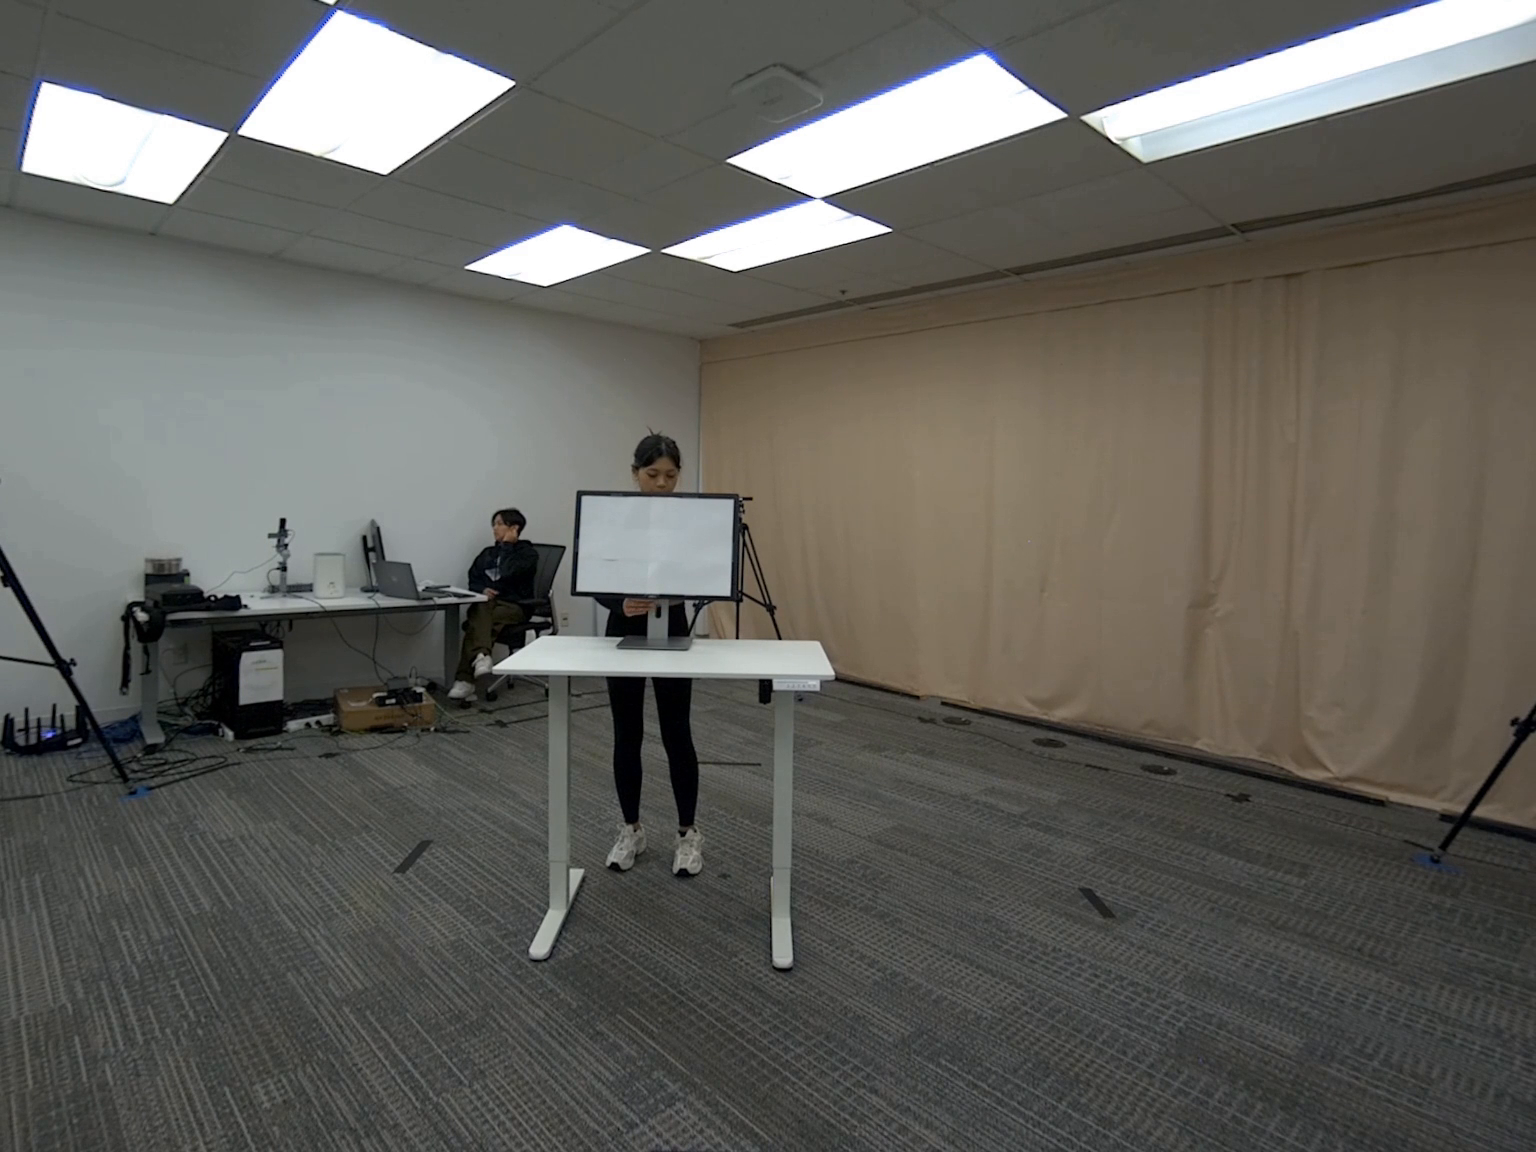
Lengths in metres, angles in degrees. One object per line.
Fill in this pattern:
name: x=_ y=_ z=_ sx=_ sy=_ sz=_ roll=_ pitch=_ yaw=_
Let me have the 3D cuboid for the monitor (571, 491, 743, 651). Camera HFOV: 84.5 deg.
monitor: x=-0.380 y=-0.014 z=2.886 sx=0.540 sy=0.521 sz=0.187 roll=1 pitch=5 yaw=2
